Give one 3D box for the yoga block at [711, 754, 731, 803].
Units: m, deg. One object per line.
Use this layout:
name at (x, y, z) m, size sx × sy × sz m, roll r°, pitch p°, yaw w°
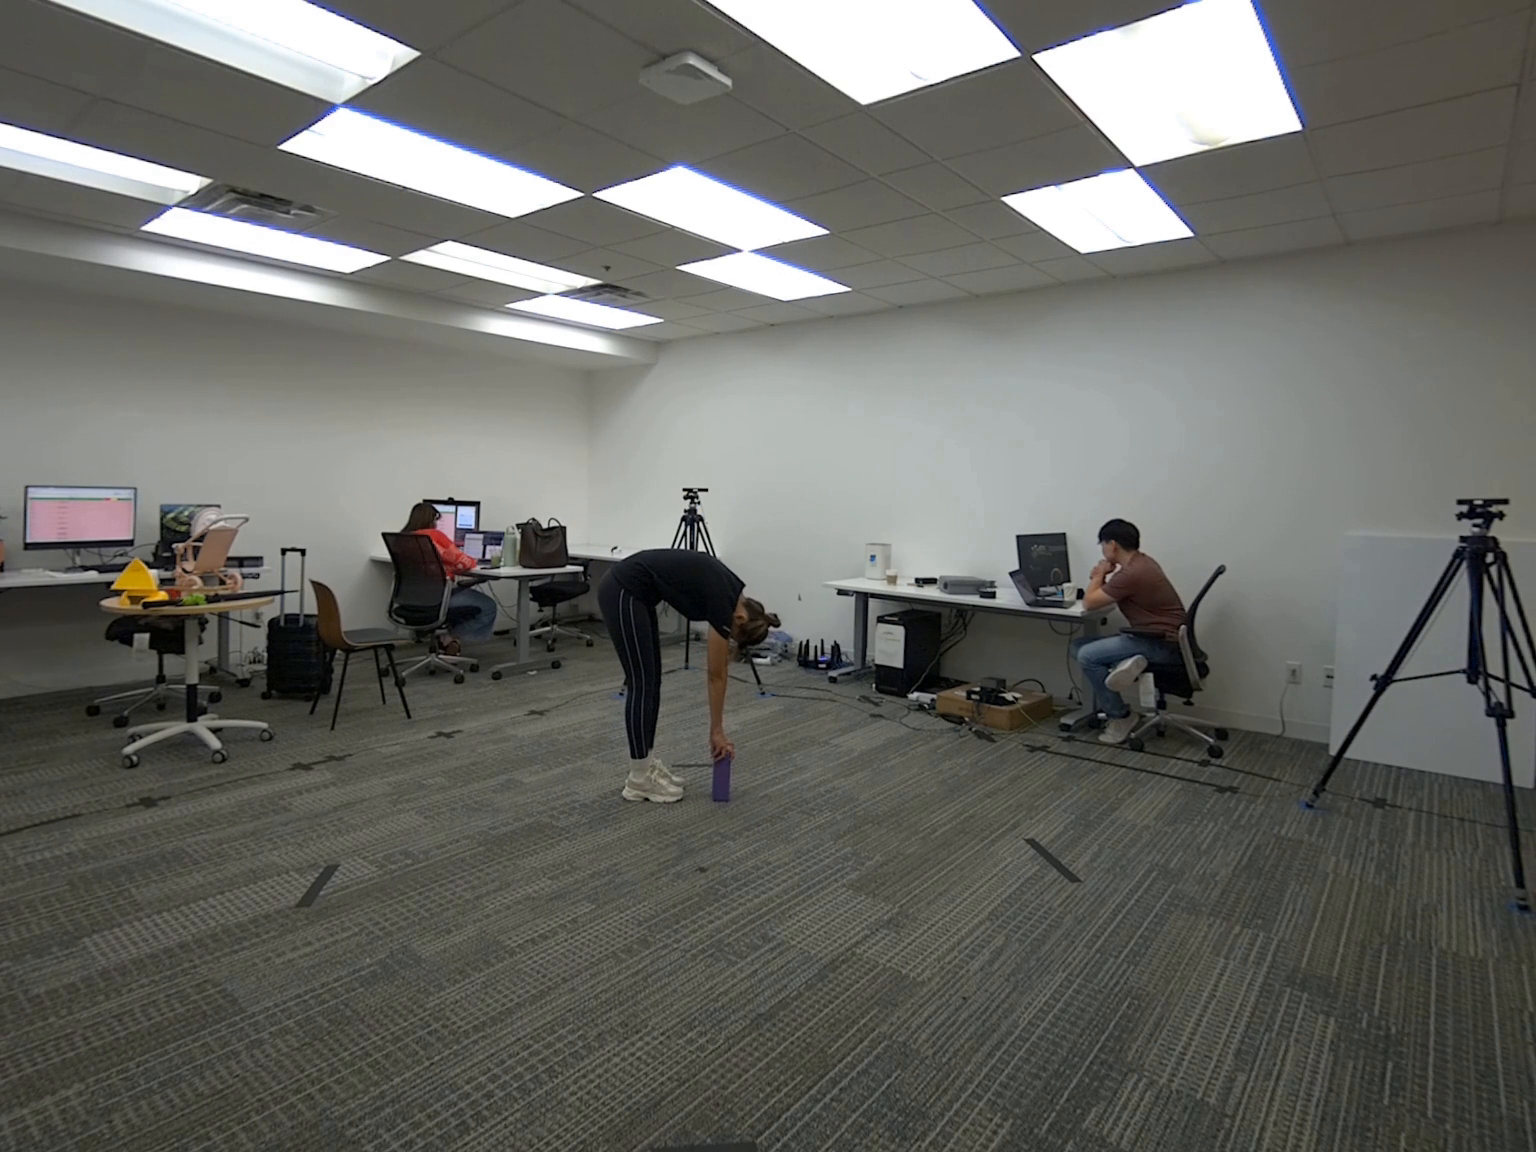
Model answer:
yoga block at (-0.219, 0.890, 3.856) m, size 0.076 × 0.228 × 0.150 m, roll 0°, pitch 6°, yaw -4°
